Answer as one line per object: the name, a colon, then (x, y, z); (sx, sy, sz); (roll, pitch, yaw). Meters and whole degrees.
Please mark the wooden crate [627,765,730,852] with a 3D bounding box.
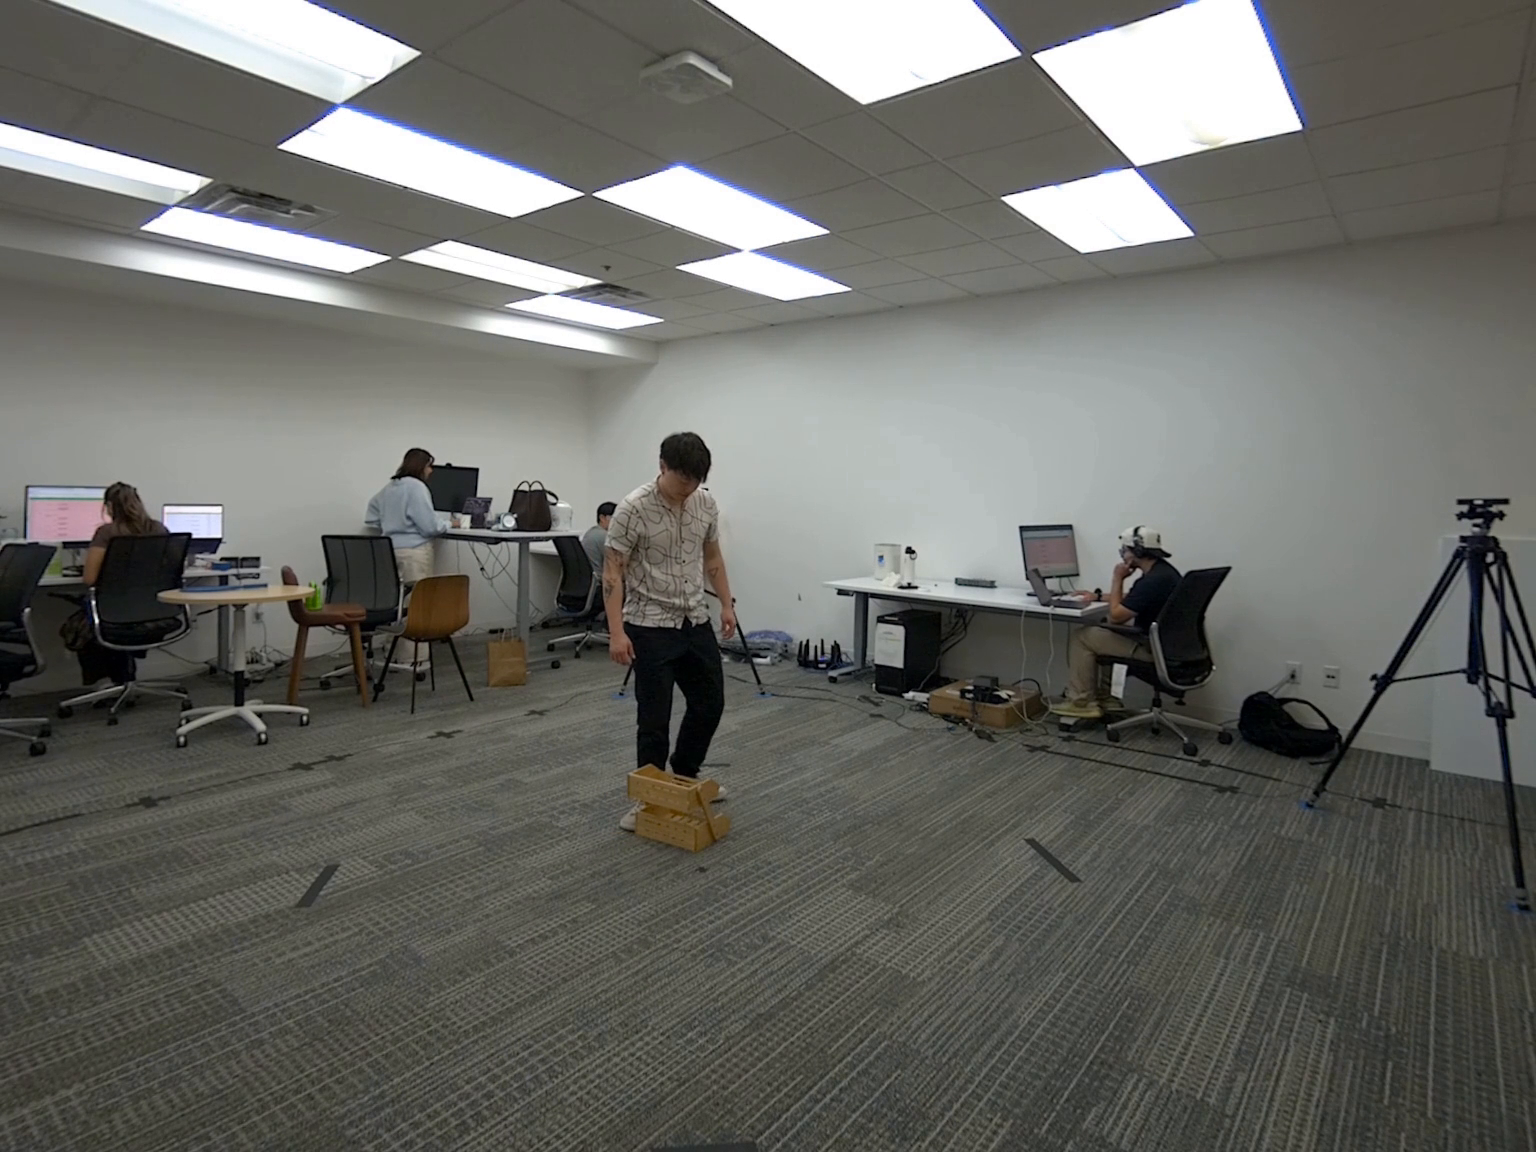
wooden crate: (-0.365, 0.904, 3.412); (0.334, 0.272, 0.294); (3, 6, 31)
